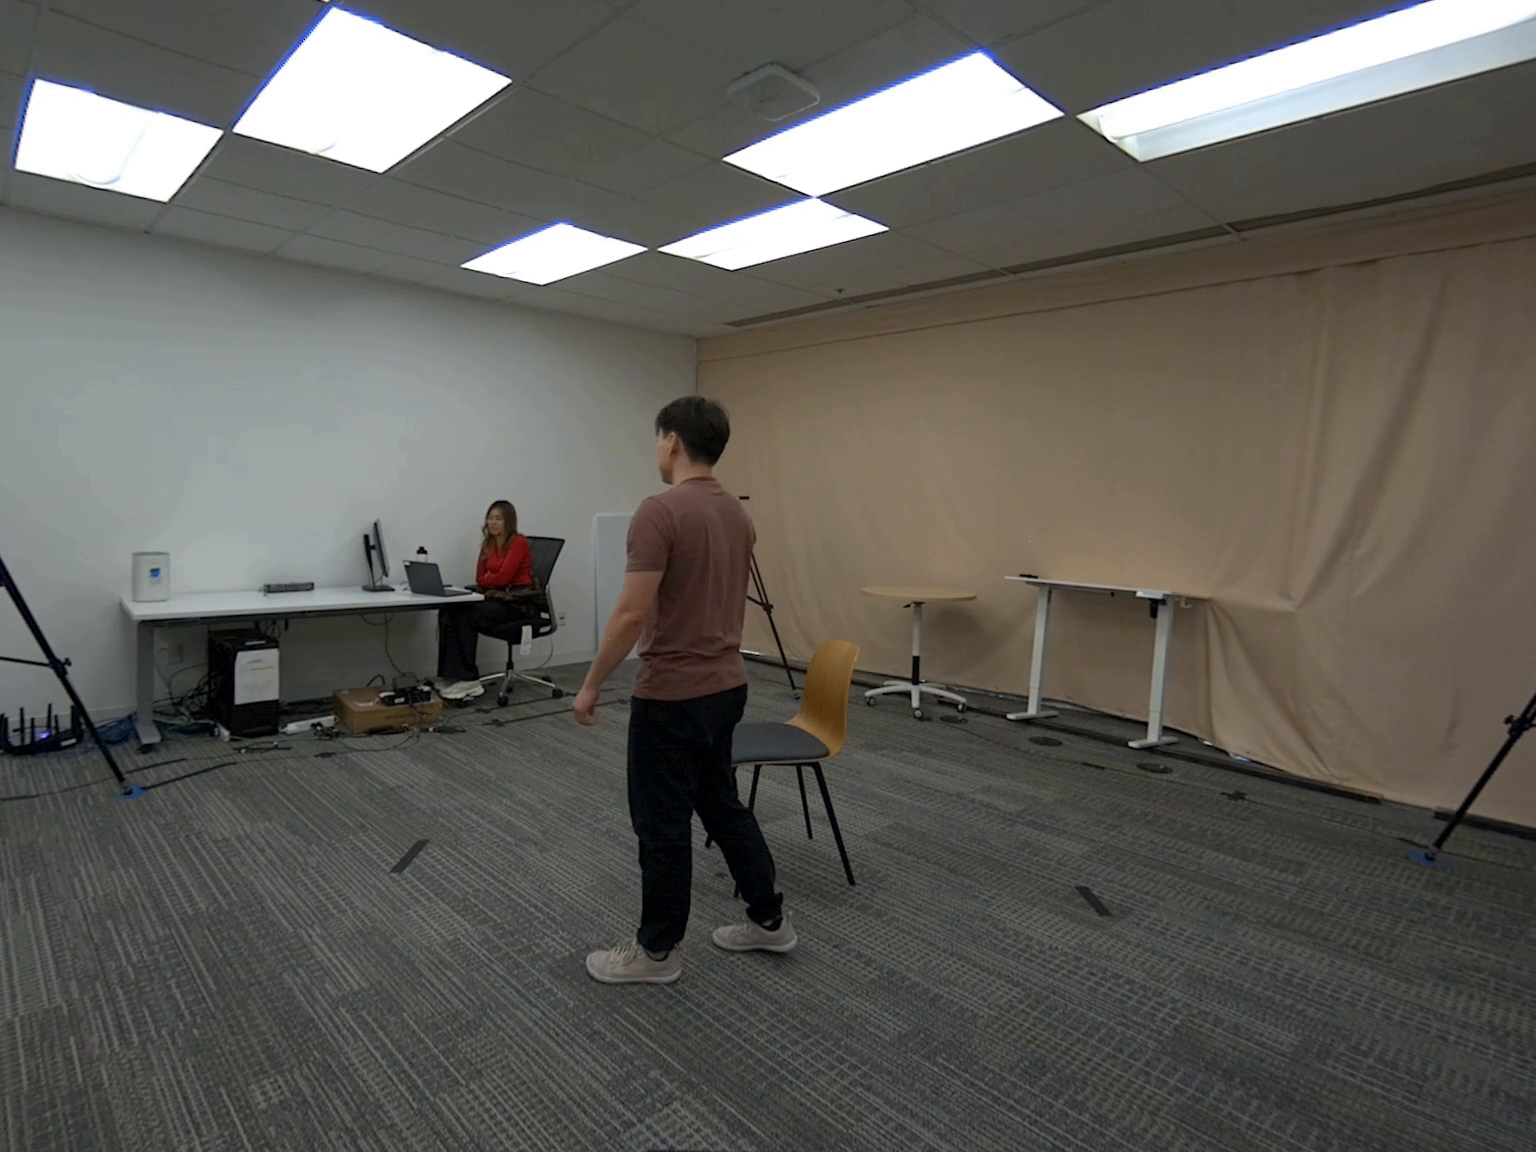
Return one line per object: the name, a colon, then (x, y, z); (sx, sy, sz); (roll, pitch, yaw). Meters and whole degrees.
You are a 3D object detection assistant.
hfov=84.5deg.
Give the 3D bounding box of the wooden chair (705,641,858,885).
wooden chair: (0.035, 0.677, 3.165); (0.516, 0.876, 0.485); (5, 3, -17)
